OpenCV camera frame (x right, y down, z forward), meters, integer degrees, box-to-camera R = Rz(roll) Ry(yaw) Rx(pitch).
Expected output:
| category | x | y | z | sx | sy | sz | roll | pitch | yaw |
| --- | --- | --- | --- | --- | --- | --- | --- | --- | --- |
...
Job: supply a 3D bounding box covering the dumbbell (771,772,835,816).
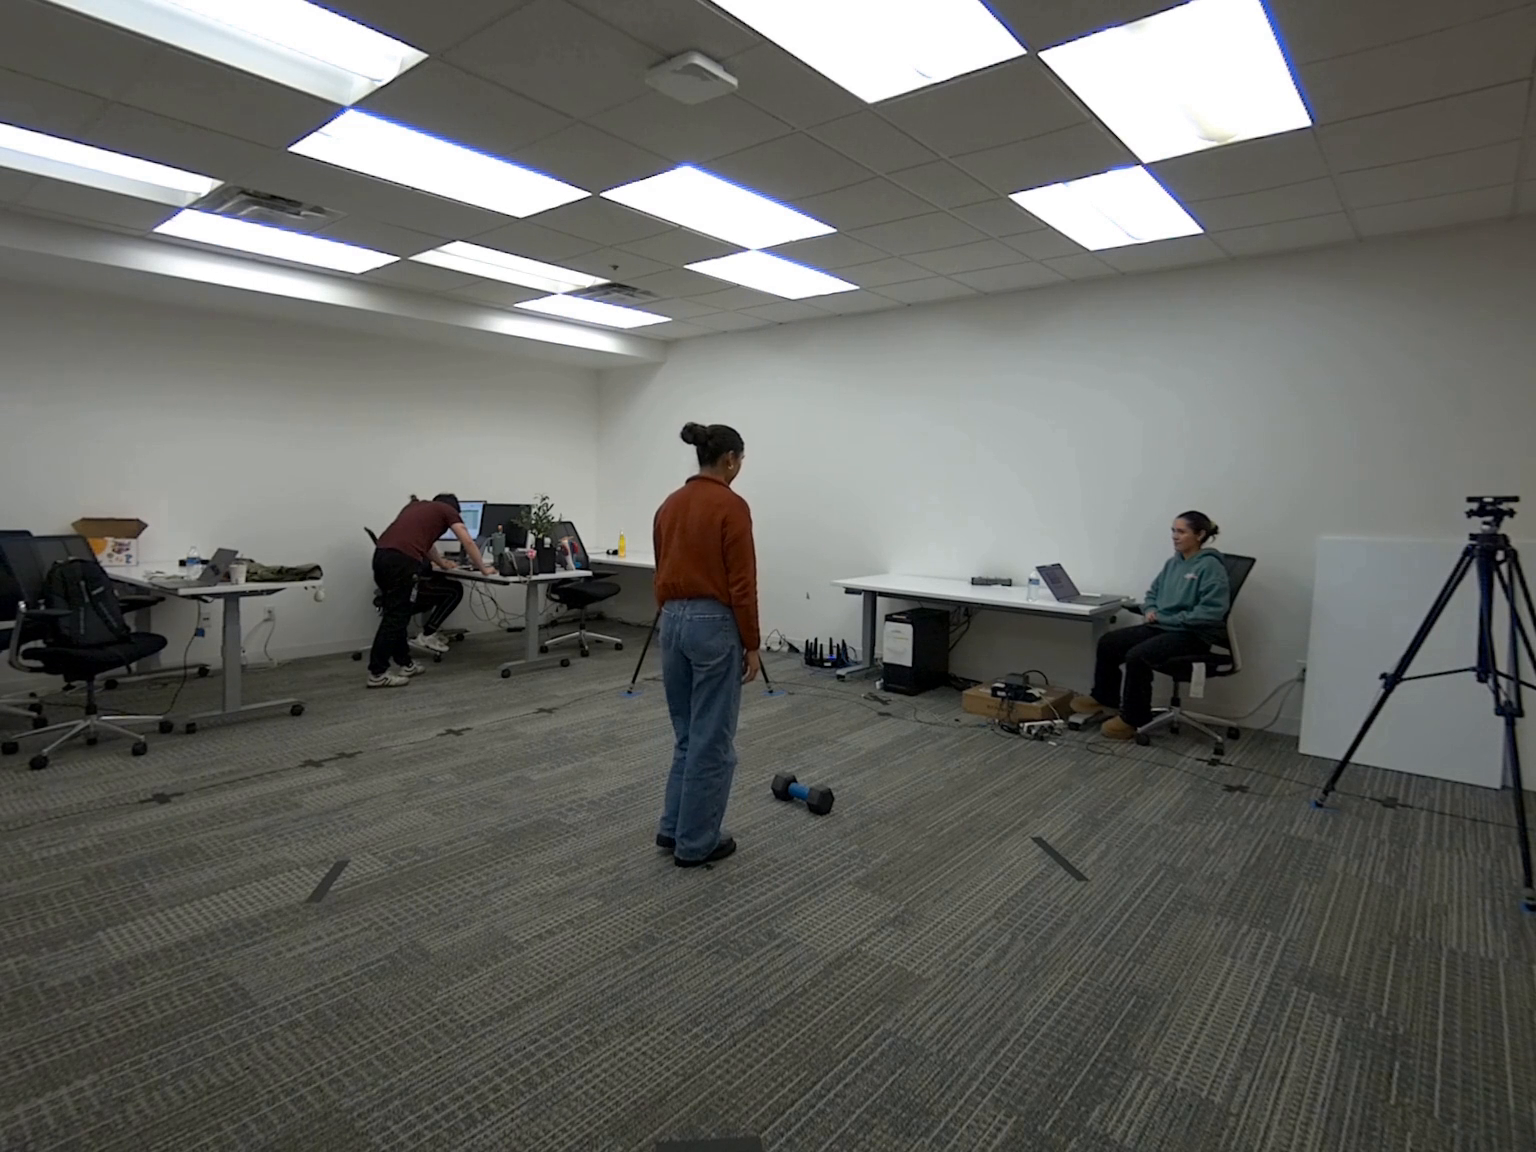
| category | x | y | z | sx | sy | sz | roll | pitch | yaw |
| --- | --- | --- | --- | --- | --- | --- | --- | --- | --- |
| dumbbell | 0.143 | 0.953 | 3.755 | 0.304 | 0.124 | 0.104 | 7 | -22 | 47 |
